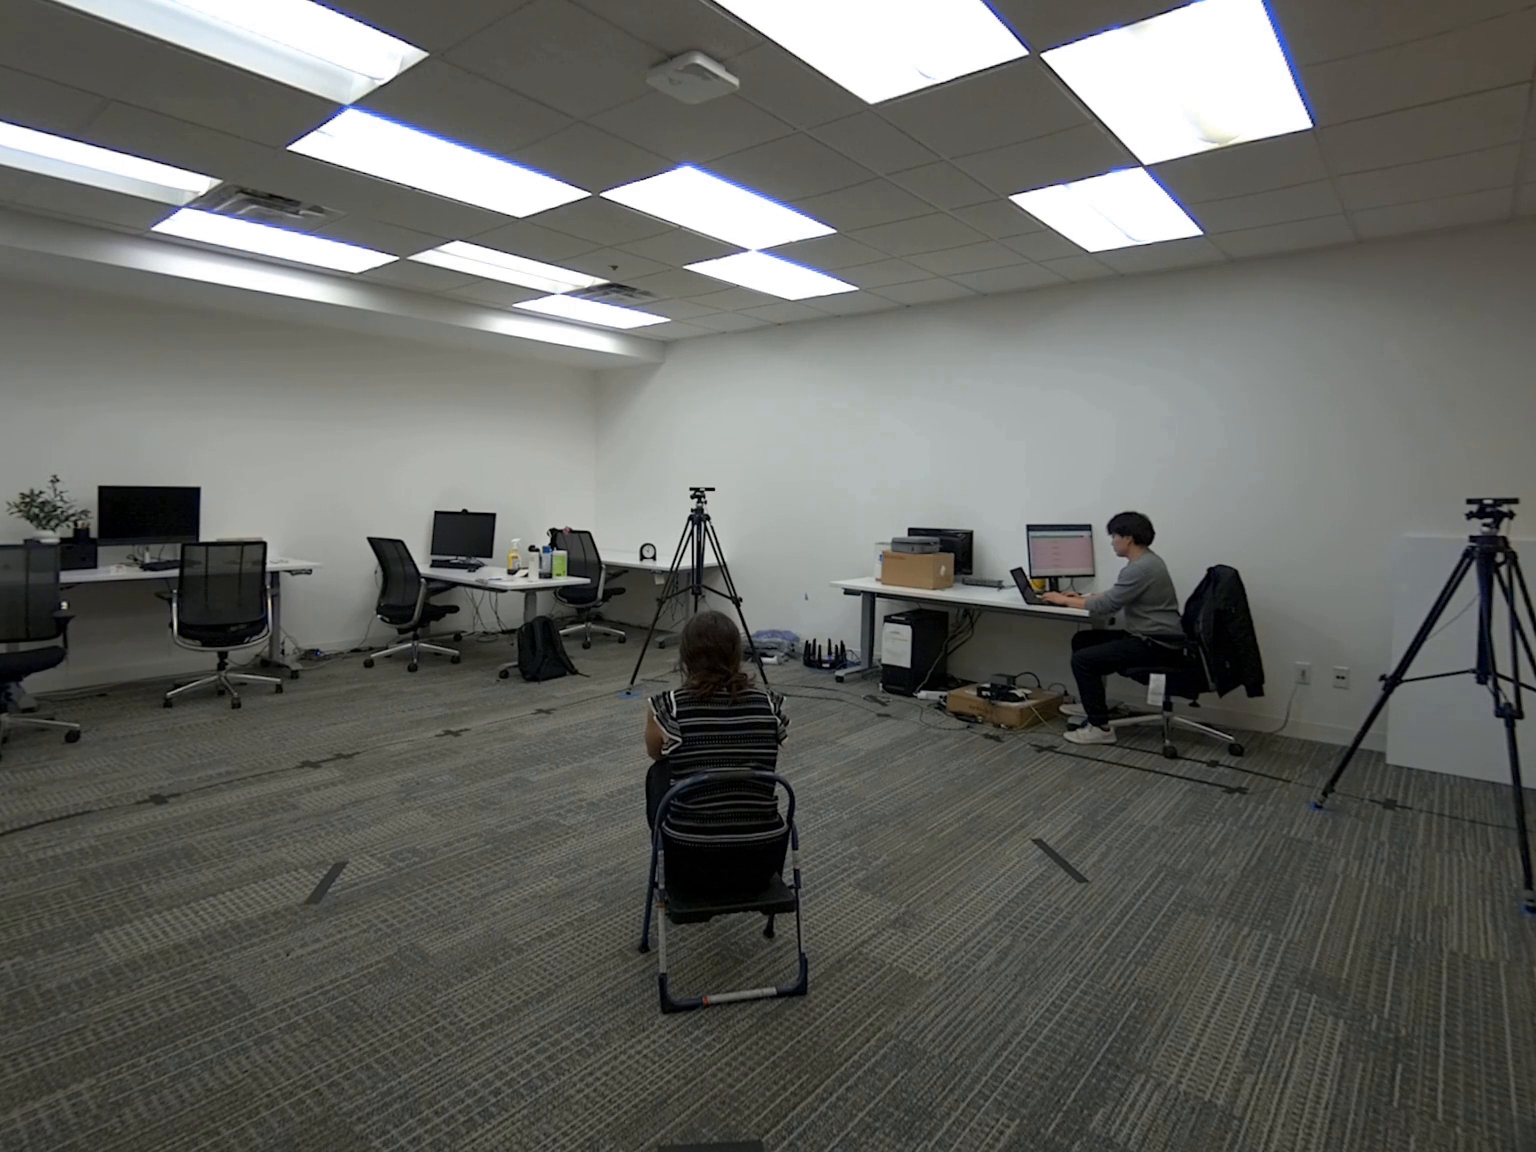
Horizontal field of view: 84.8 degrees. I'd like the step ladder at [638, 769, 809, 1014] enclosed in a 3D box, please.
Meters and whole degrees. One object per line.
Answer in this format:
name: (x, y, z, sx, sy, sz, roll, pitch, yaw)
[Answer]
step ladder: (-0.137, 0.838, 2.443, 0.423, 0.604, 0.356, -1, 4, -17)
